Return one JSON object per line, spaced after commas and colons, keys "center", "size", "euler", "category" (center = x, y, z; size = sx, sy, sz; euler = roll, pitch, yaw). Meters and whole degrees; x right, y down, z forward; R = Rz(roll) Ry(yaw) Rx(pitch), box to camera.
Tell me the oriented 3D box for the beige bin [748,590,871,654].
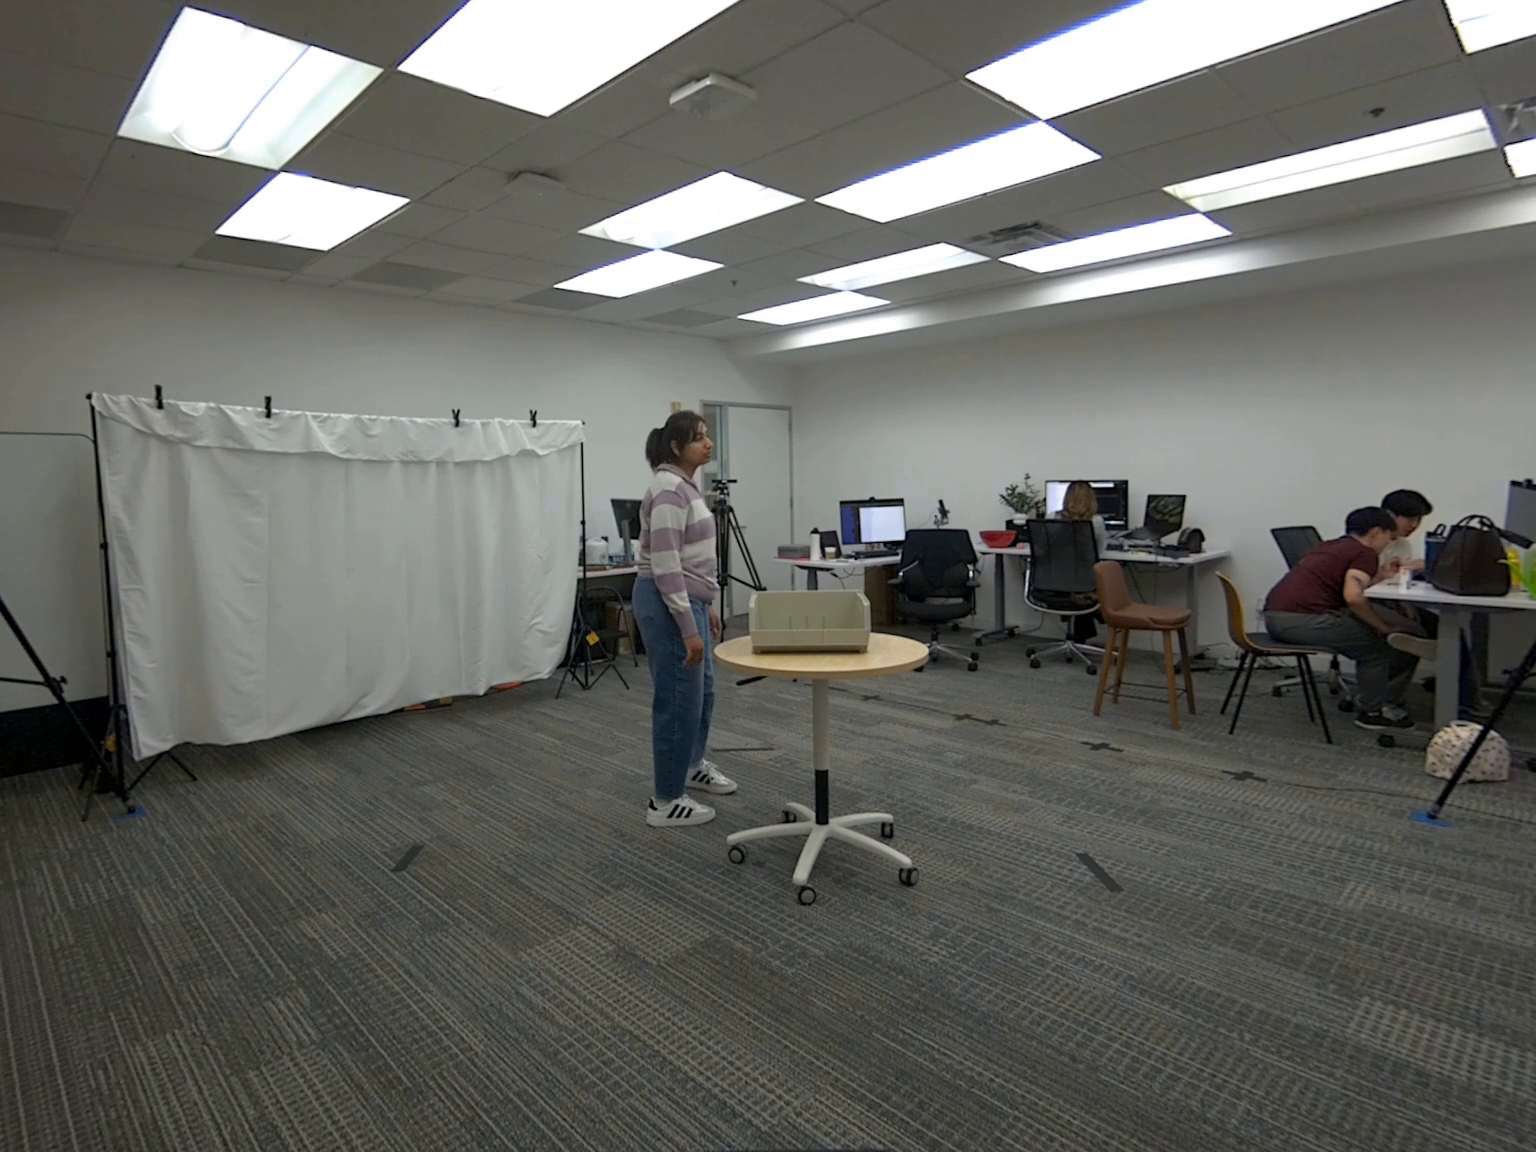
{"center": [0.152, 0.169, 3.125], "size": [0.424, 0.188, 0.377], "euler": [-2, 4, 4], "category": "beige bin"}
